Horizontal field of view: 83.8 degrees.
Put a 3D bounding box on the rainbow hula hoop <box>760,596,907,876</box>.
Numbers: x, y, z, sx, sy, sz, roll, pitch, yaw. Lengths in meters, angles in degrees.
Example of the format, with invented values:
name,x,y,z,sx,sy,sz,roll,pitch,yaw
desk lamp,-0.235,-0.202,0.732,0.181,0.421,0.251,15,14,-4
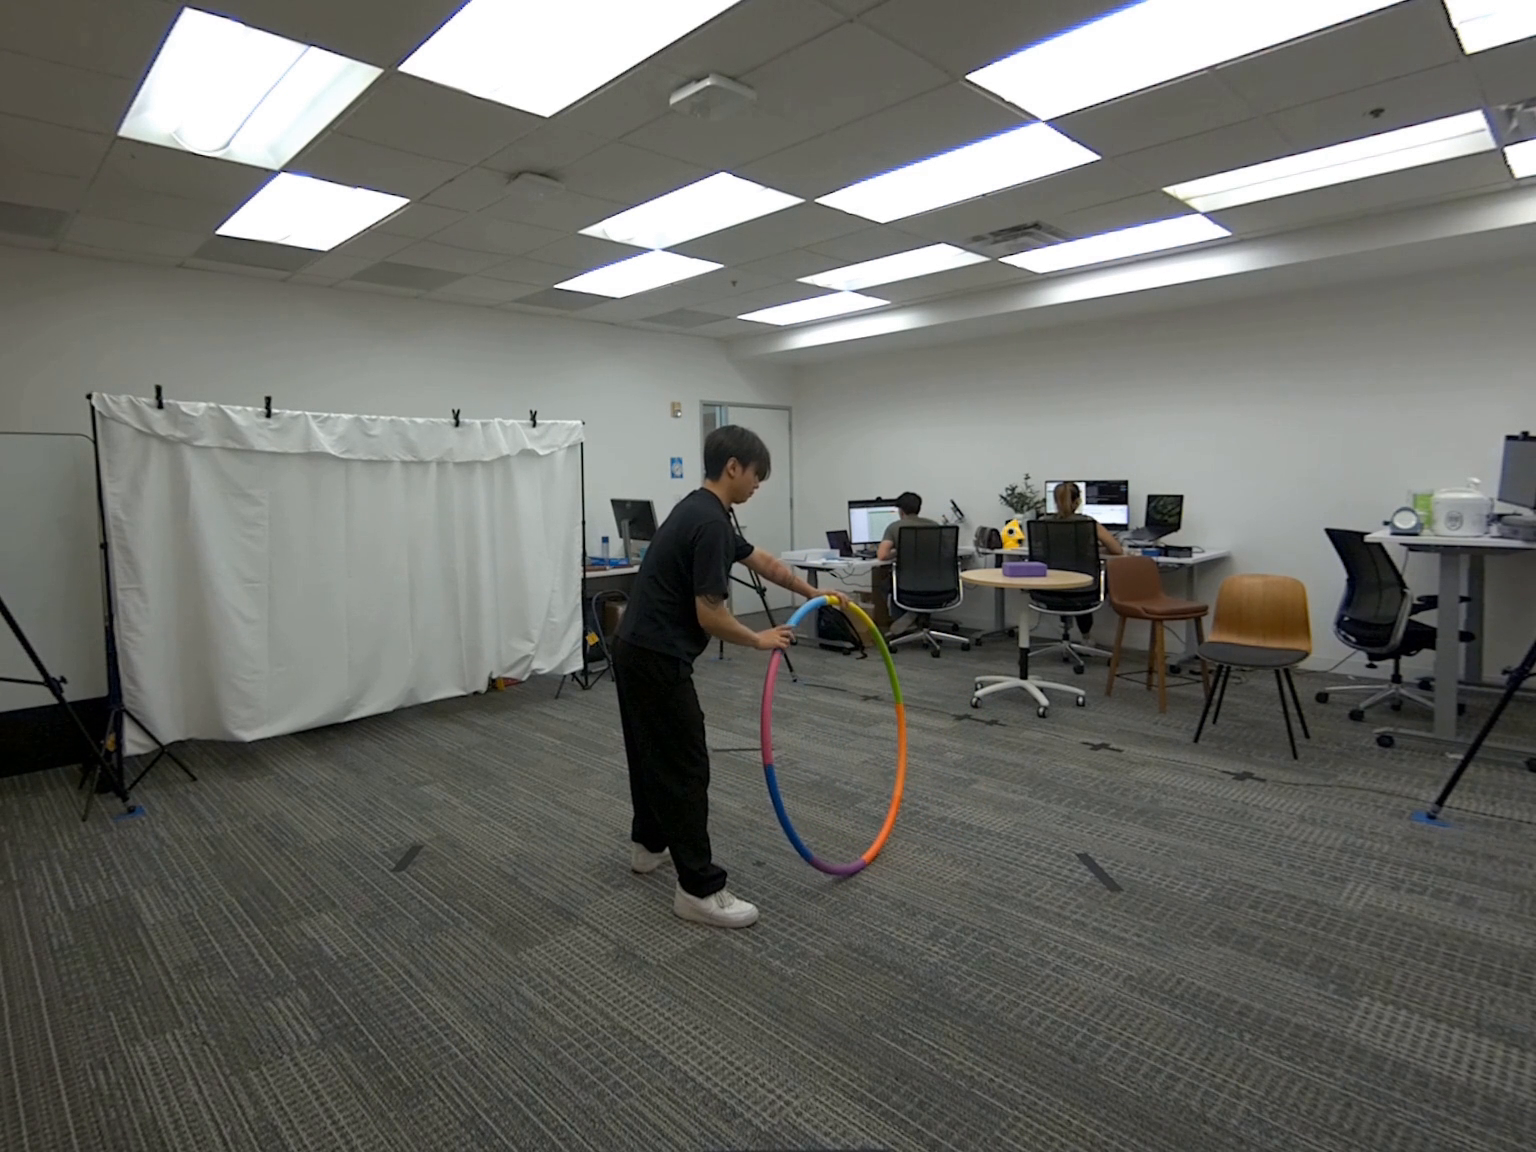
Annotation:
name,x,y,z,sx,sy,sz,roll,pitch,yaw
rainbow hula hoop,0.277,0.567,3.099,0.036,0.981,0.955,-11,-2,34
